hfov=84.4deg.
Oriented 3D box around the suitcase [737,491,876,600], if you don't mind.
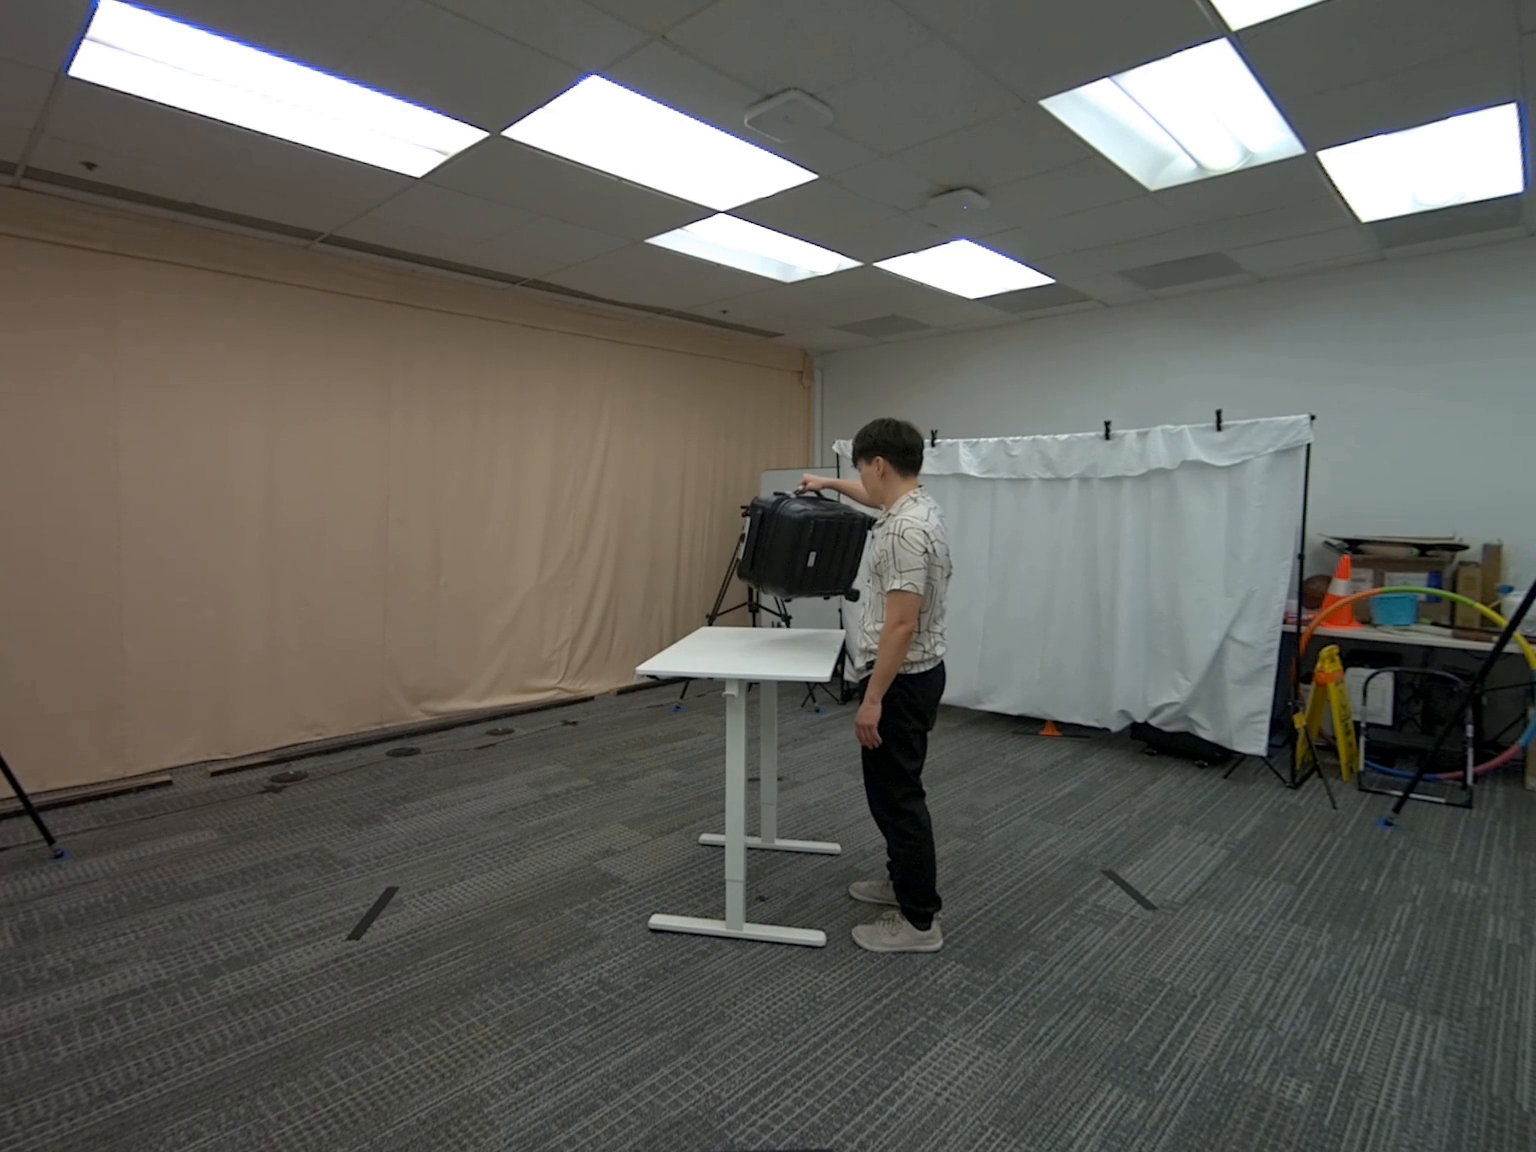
[{"bbox_3d":[0.150,-0.109,3.176,0.257,0.374,0.532,20,12,36],"label":"suitcase"}]
